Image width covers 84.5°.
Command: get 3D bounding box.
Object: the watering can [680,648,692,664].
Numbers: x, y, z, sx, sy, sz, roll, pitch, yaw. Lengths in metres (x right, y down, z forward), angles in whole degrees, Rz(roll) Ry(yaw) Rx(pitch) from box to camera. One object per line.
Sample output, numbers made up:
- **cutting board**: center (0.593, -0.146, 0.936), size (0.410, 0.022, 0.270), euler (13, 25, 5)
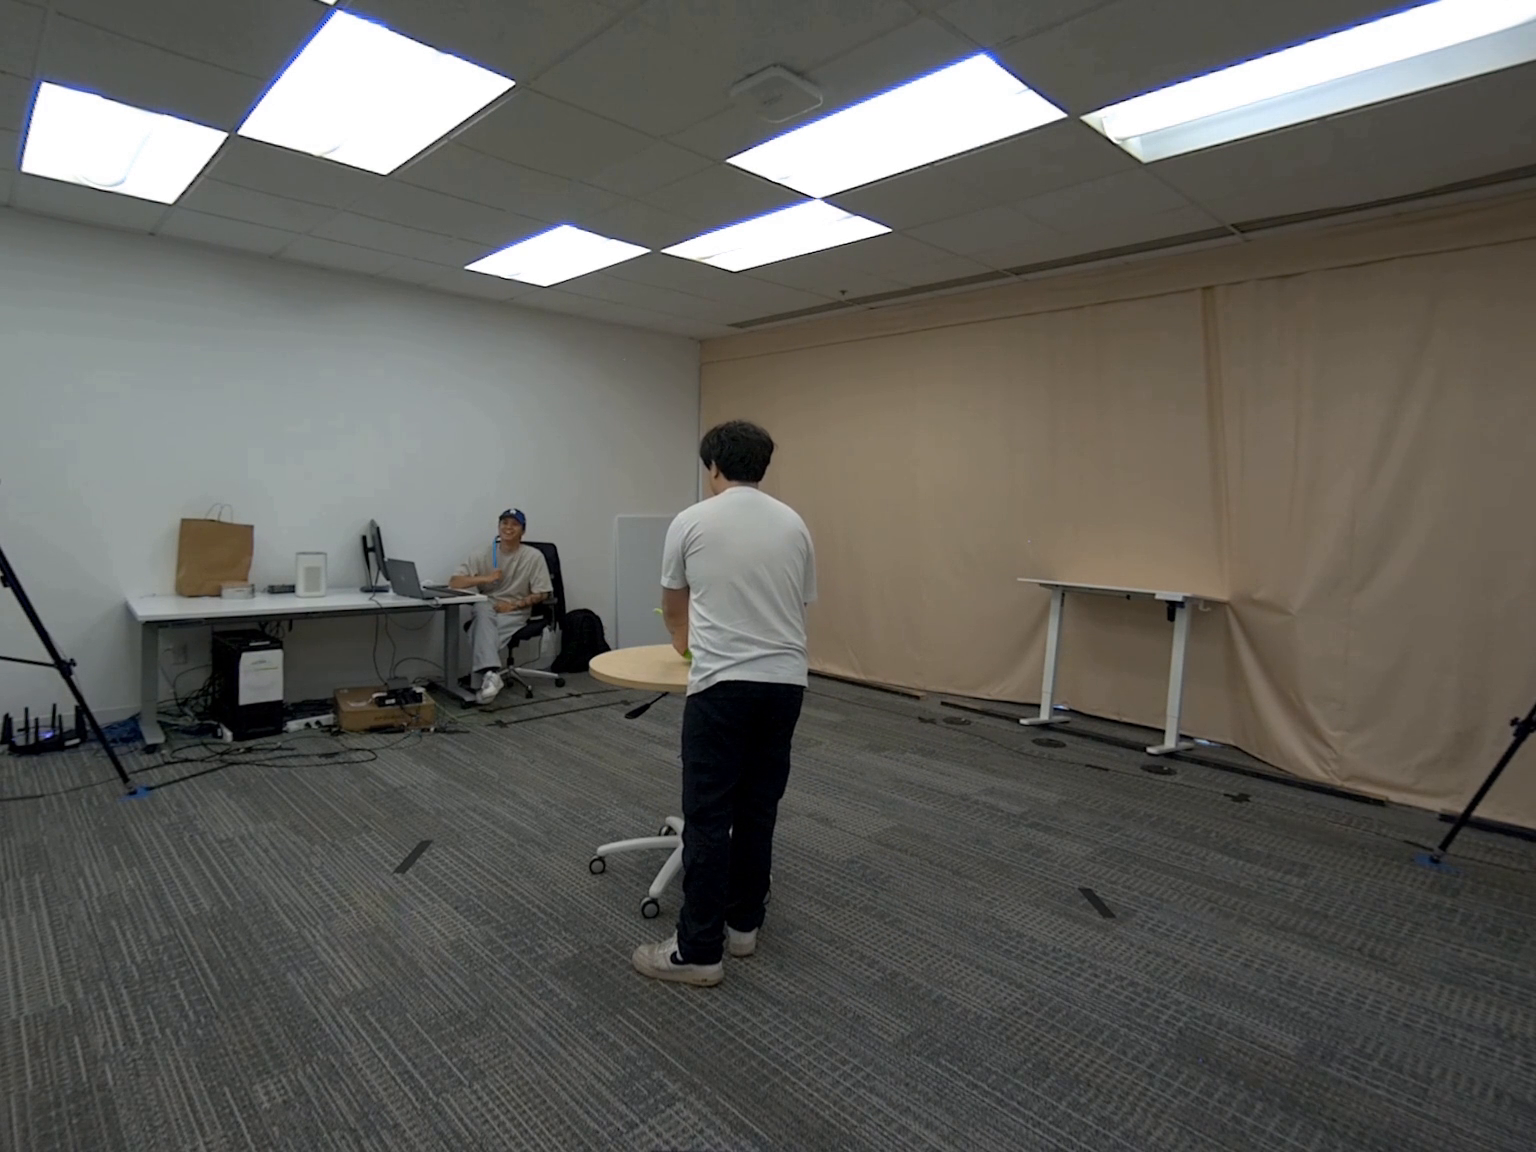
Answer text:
- **watering can**: center (-0.282, 0.216, 3.066), size (0.285, 0.176, 0.096), euler (8, 4, 33)
